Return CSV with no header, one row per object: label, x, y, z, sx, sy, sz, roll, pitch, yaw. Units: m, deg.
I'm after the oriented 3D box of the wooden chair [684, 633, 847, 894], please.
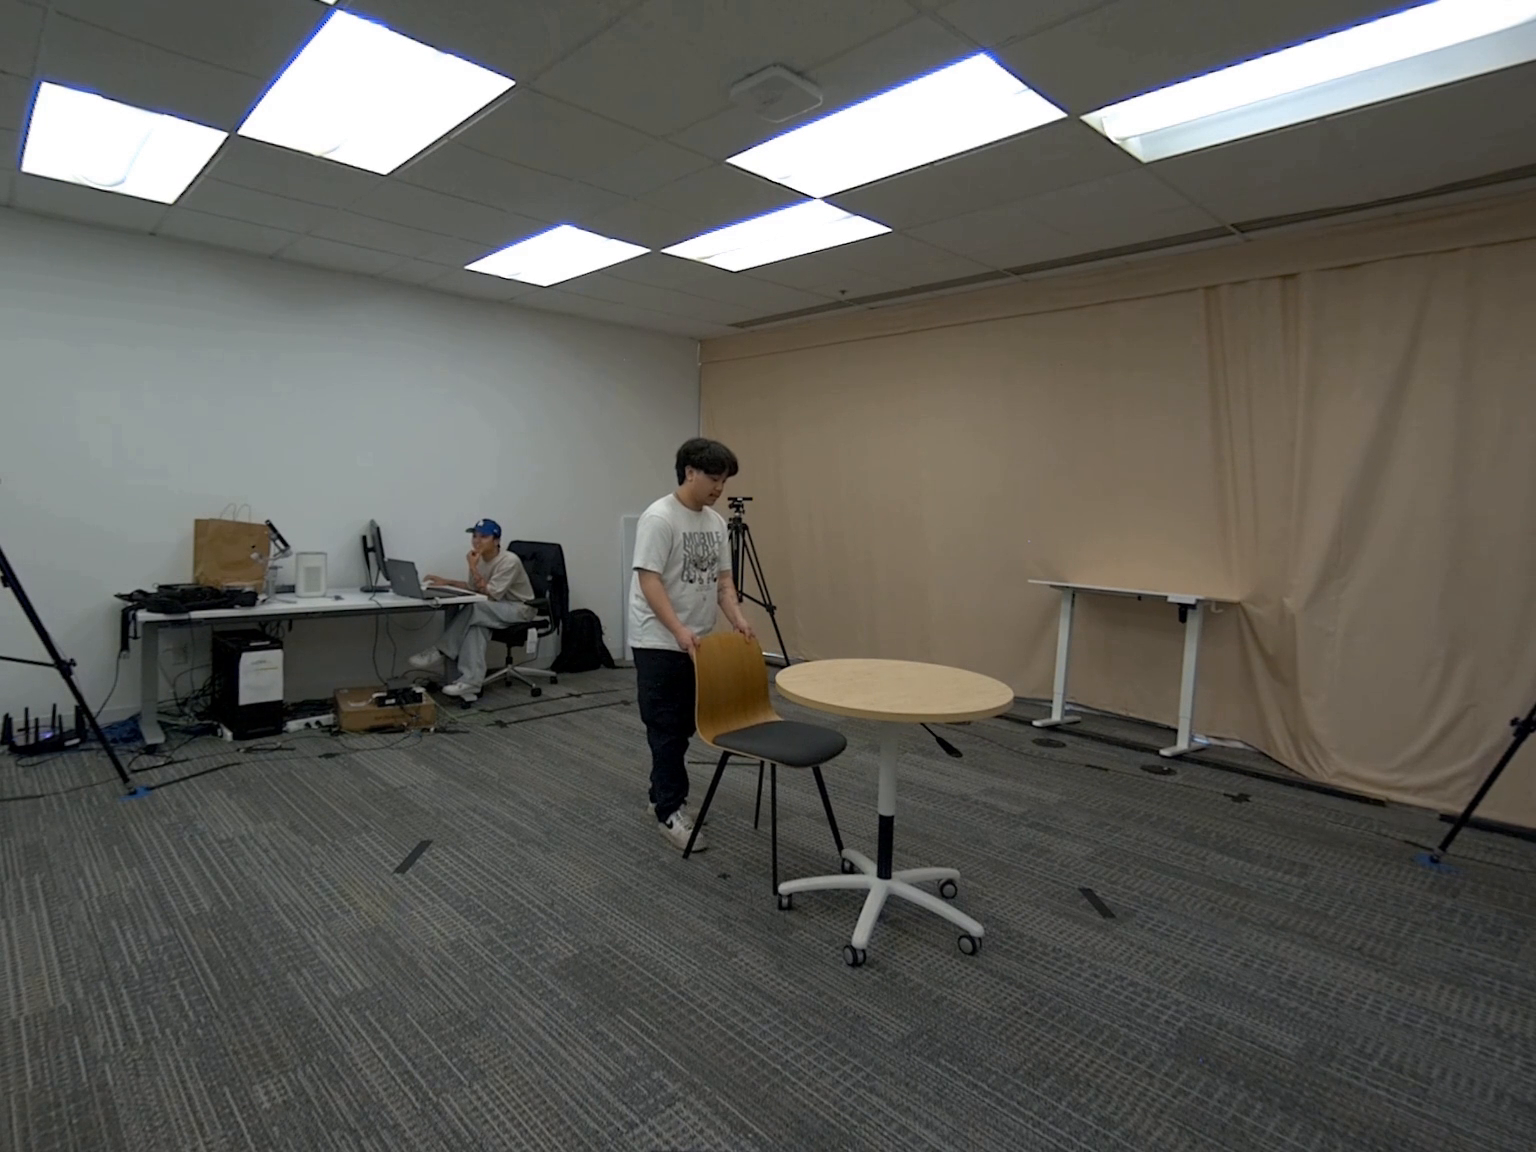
wooden chair,-0.001,0.670,3.236,0.535,0.878,0.467,-2,0,40
